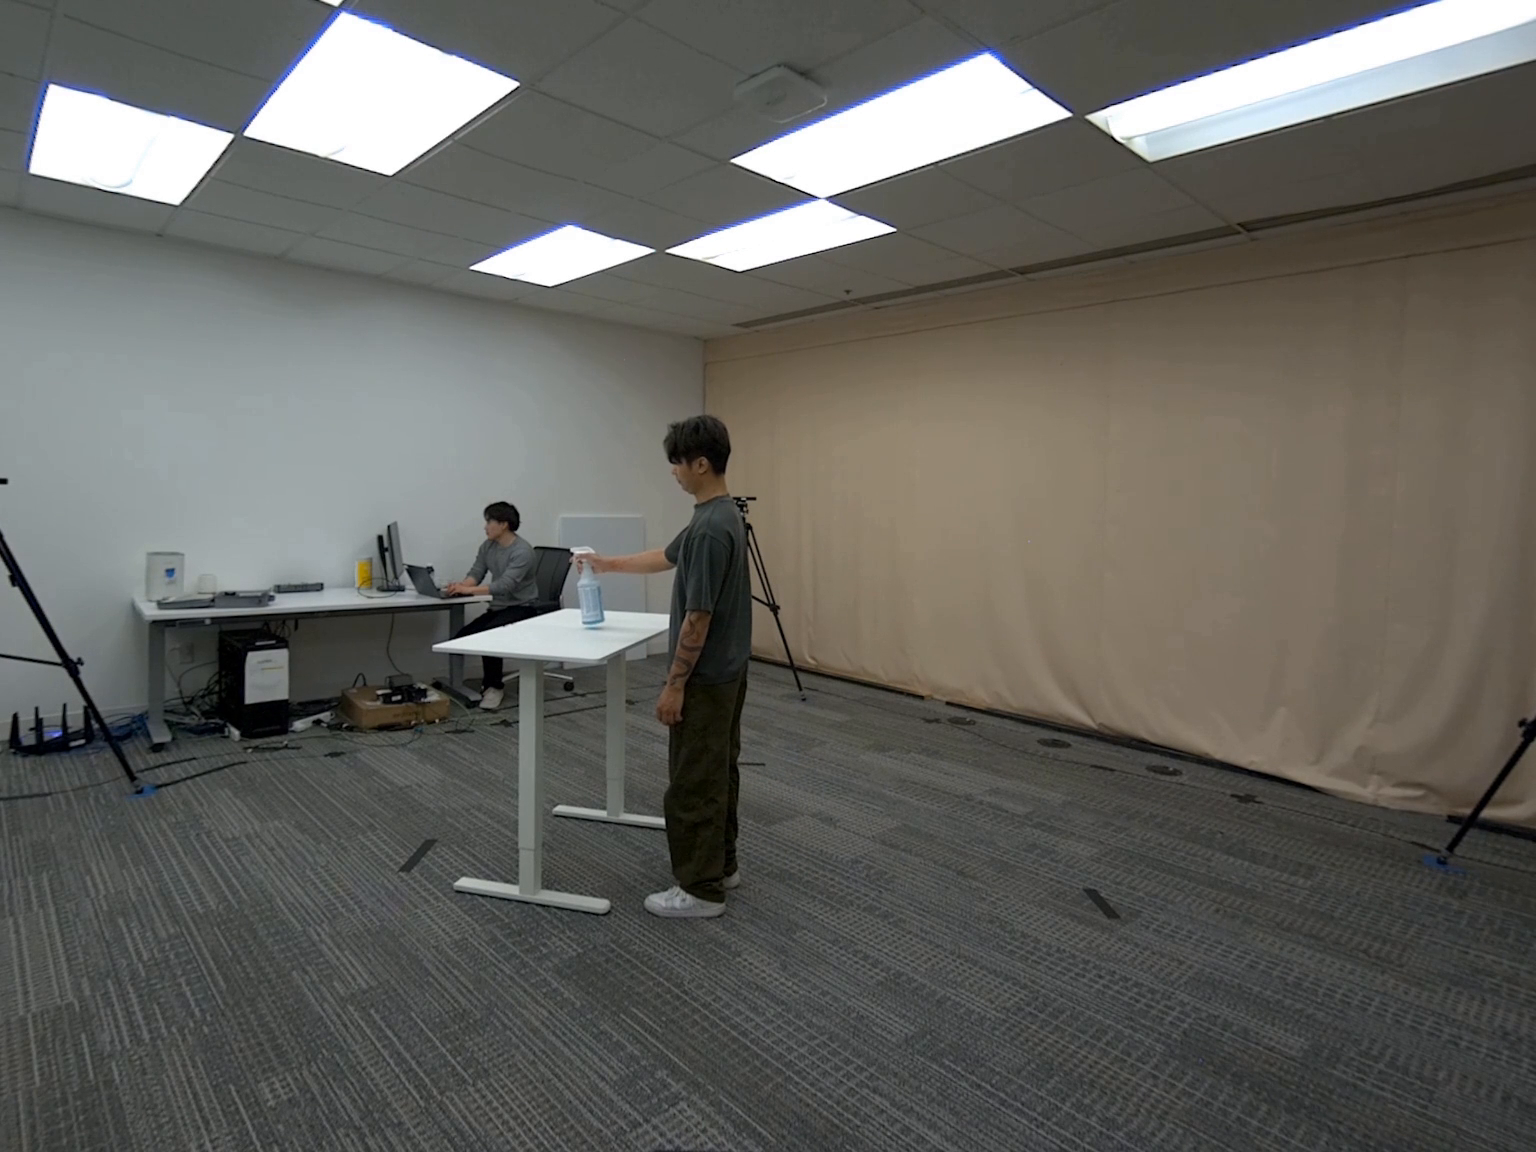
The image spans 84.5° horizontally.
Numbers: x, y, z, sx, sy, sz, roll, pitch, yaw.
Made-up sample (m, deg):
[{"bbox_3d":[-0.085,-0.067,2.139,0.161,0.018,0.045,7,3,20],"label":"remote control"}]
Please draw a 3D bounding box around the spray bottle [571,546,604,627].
[{"bbox_3d":[-0.690,0.037,3.212,0.091,0.297,0.086,-6,3,27],"label":"spray bottle"}]
